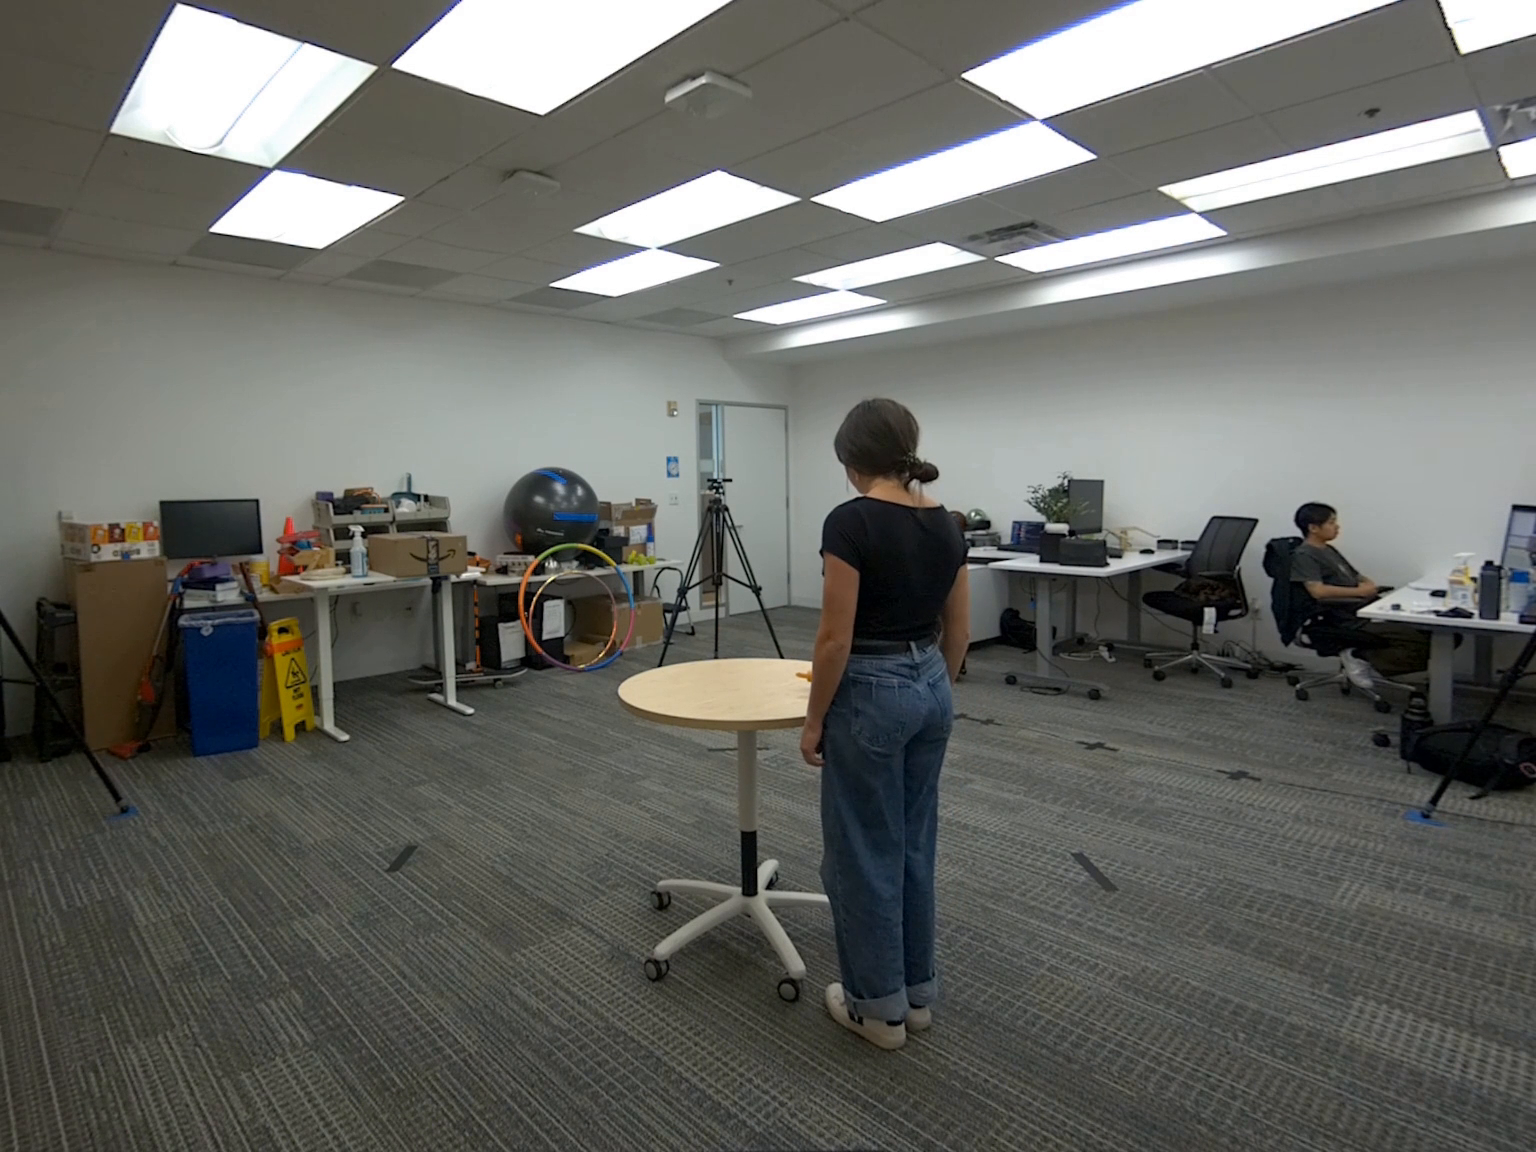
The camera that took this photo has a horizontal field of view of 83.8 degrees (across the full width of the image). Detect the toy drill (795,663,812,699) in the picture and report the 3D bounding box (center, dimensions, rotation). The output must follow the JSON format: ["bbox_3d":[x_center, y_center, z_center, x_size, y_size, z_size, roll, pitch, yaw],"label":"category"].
[{"bbox_3d":[0.175,0.306,2.434,0.172,0.061,0.145,7,9,12],"label":"toy drill"}]
